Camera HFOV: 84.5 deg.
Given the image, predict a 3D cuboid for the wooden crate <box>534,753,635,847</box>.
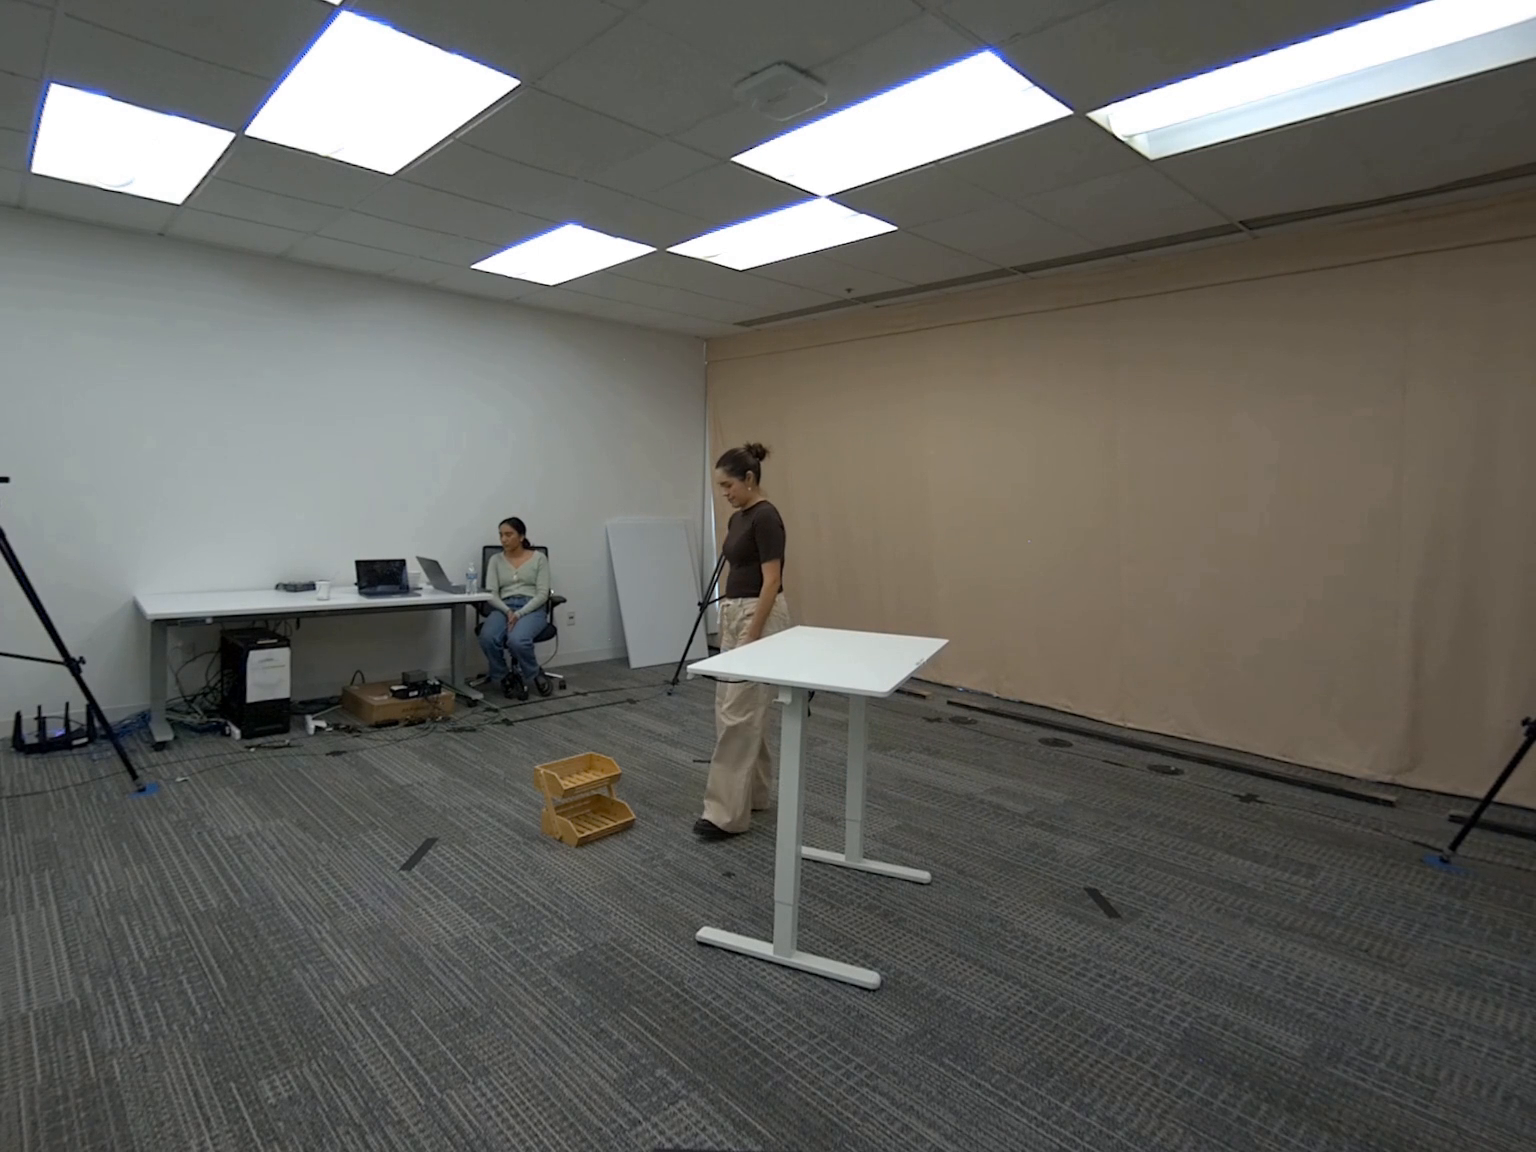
[{"bbox_3d":[-0.780,0.921,3.510,0.309,0.273,0.317,5,5,40],"label":"wooden crate"}]
